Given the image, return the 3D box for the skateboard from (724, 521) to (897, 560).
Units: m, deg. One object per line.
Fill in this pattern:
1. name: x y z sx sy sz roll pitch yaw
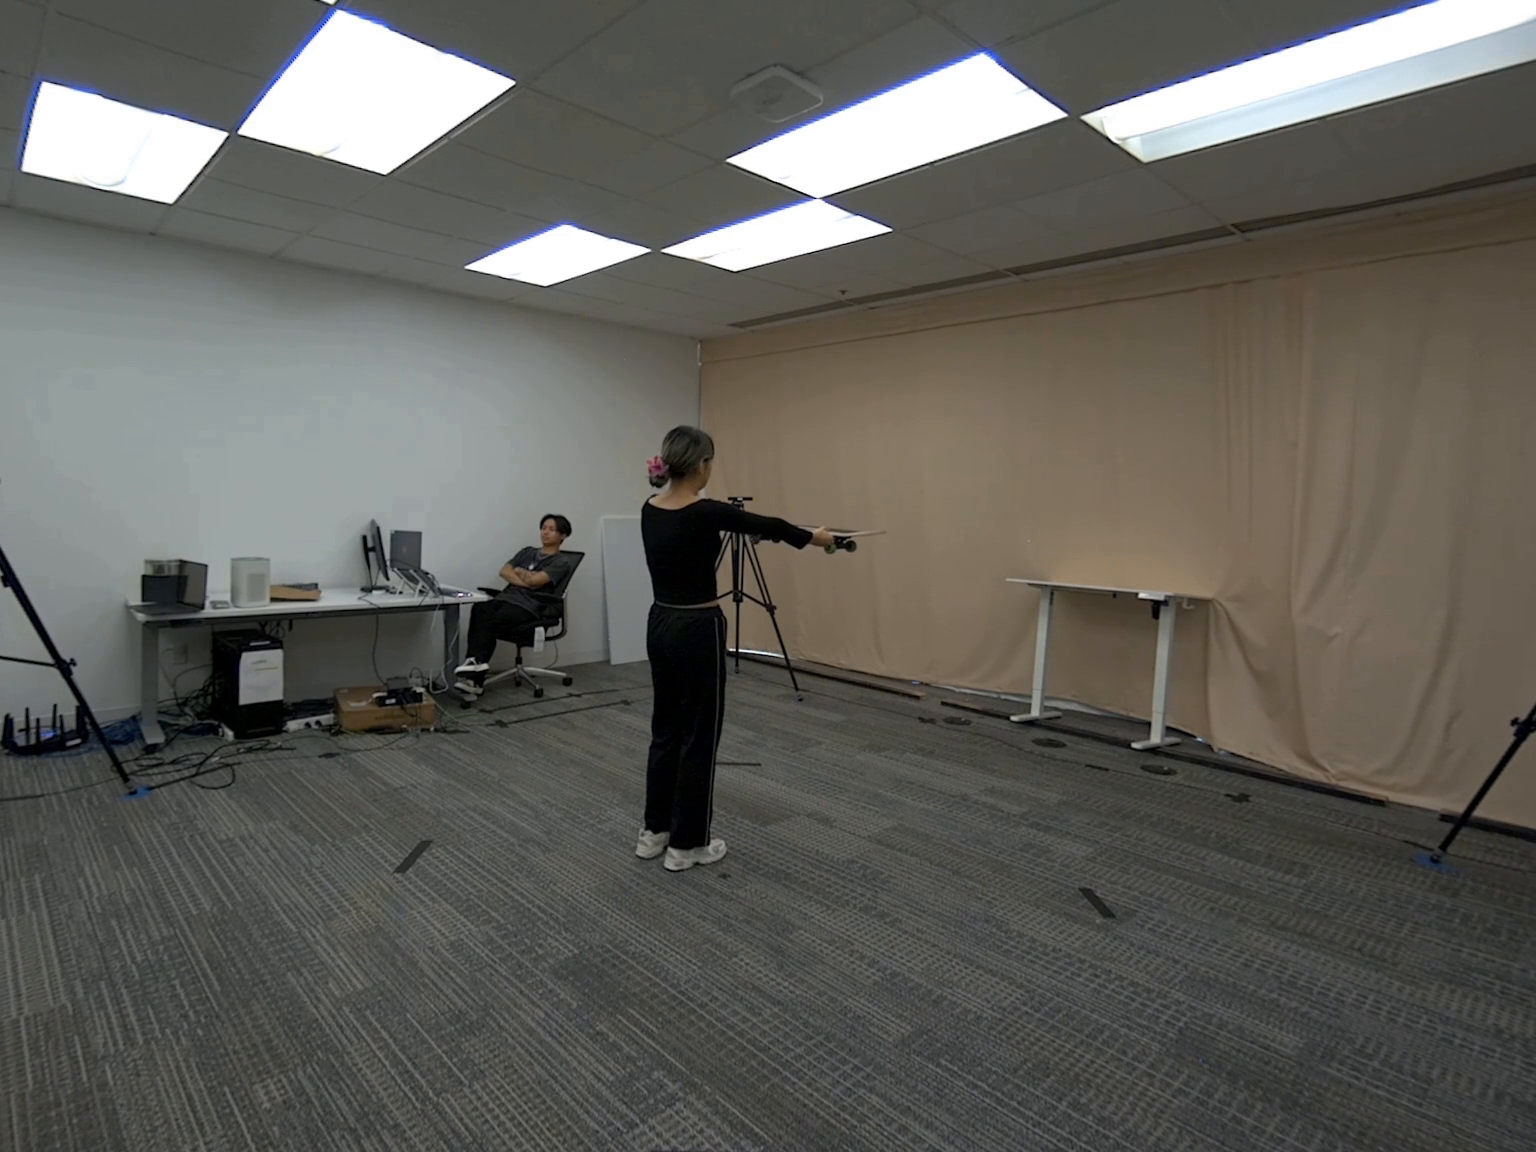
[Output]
1. skateboard: 0.151 -0.169 3.605 0.806 0.110 0.189 8 8 41
